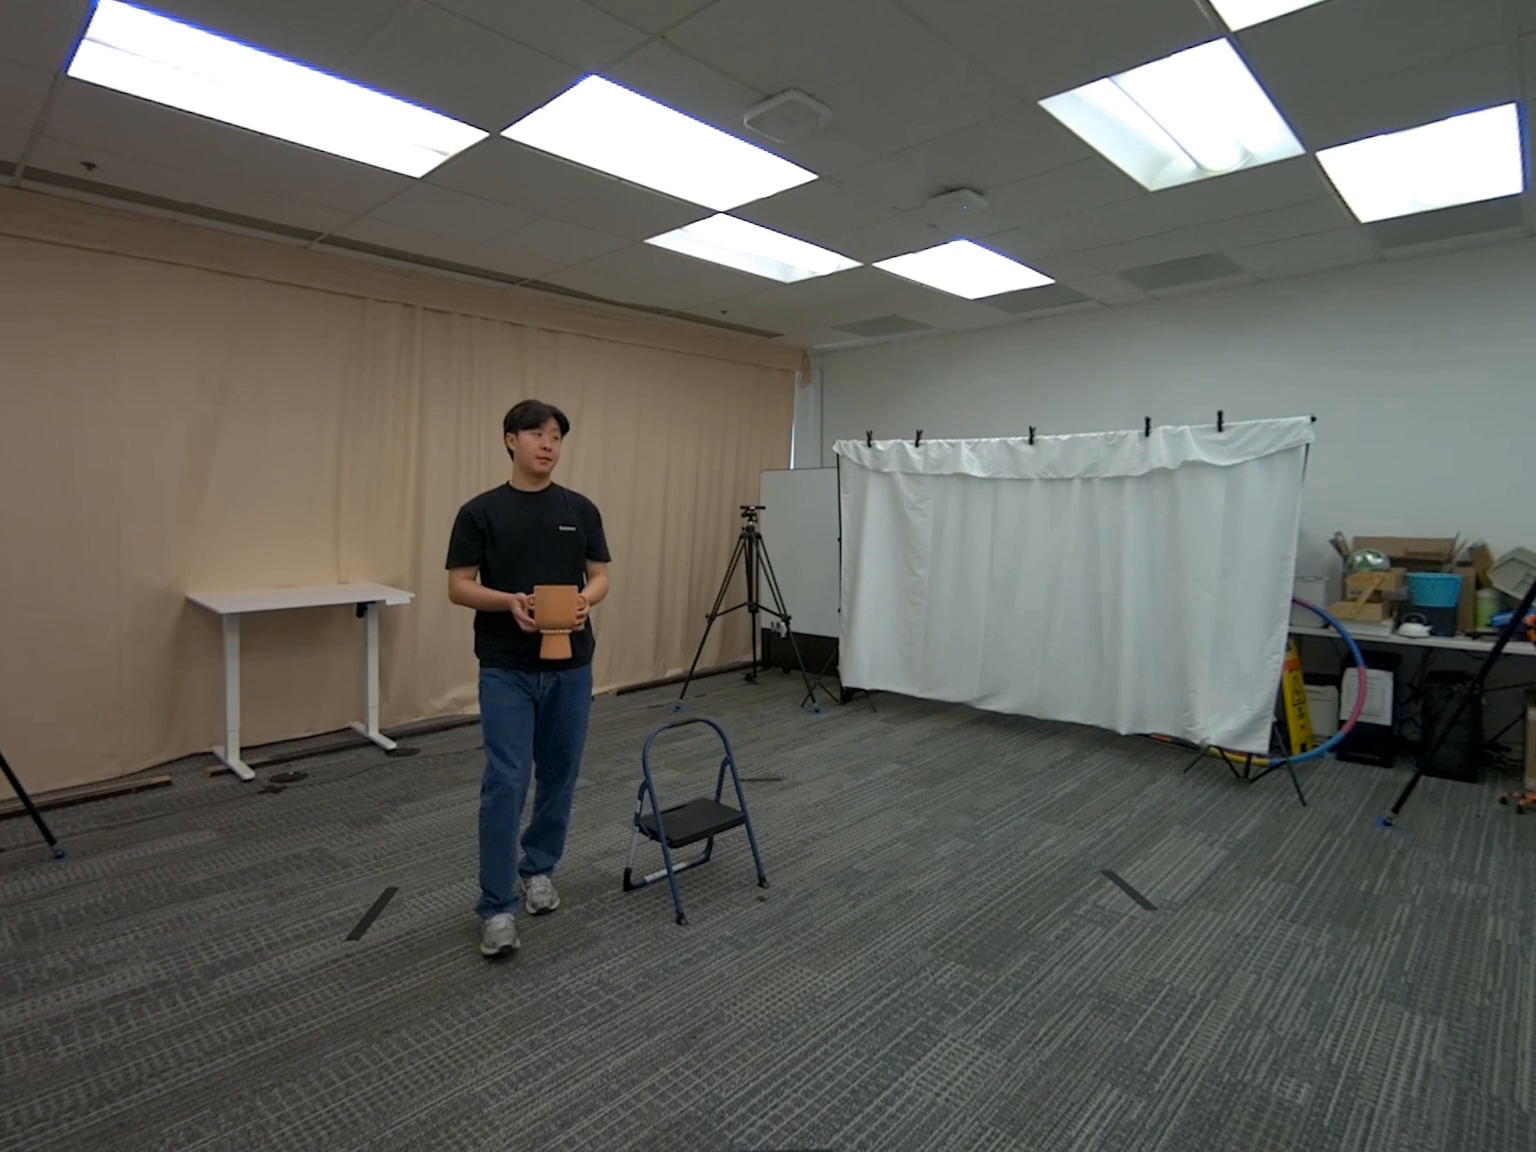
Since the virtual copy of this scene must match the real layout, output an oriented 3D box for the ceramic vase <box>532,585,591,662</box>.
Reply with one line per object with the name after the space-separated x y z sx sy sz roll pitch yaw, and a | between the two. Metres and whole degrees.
-0.651 0.141 2.610 0.162 0.220 0.132 1 0 17 | ceramic vase
